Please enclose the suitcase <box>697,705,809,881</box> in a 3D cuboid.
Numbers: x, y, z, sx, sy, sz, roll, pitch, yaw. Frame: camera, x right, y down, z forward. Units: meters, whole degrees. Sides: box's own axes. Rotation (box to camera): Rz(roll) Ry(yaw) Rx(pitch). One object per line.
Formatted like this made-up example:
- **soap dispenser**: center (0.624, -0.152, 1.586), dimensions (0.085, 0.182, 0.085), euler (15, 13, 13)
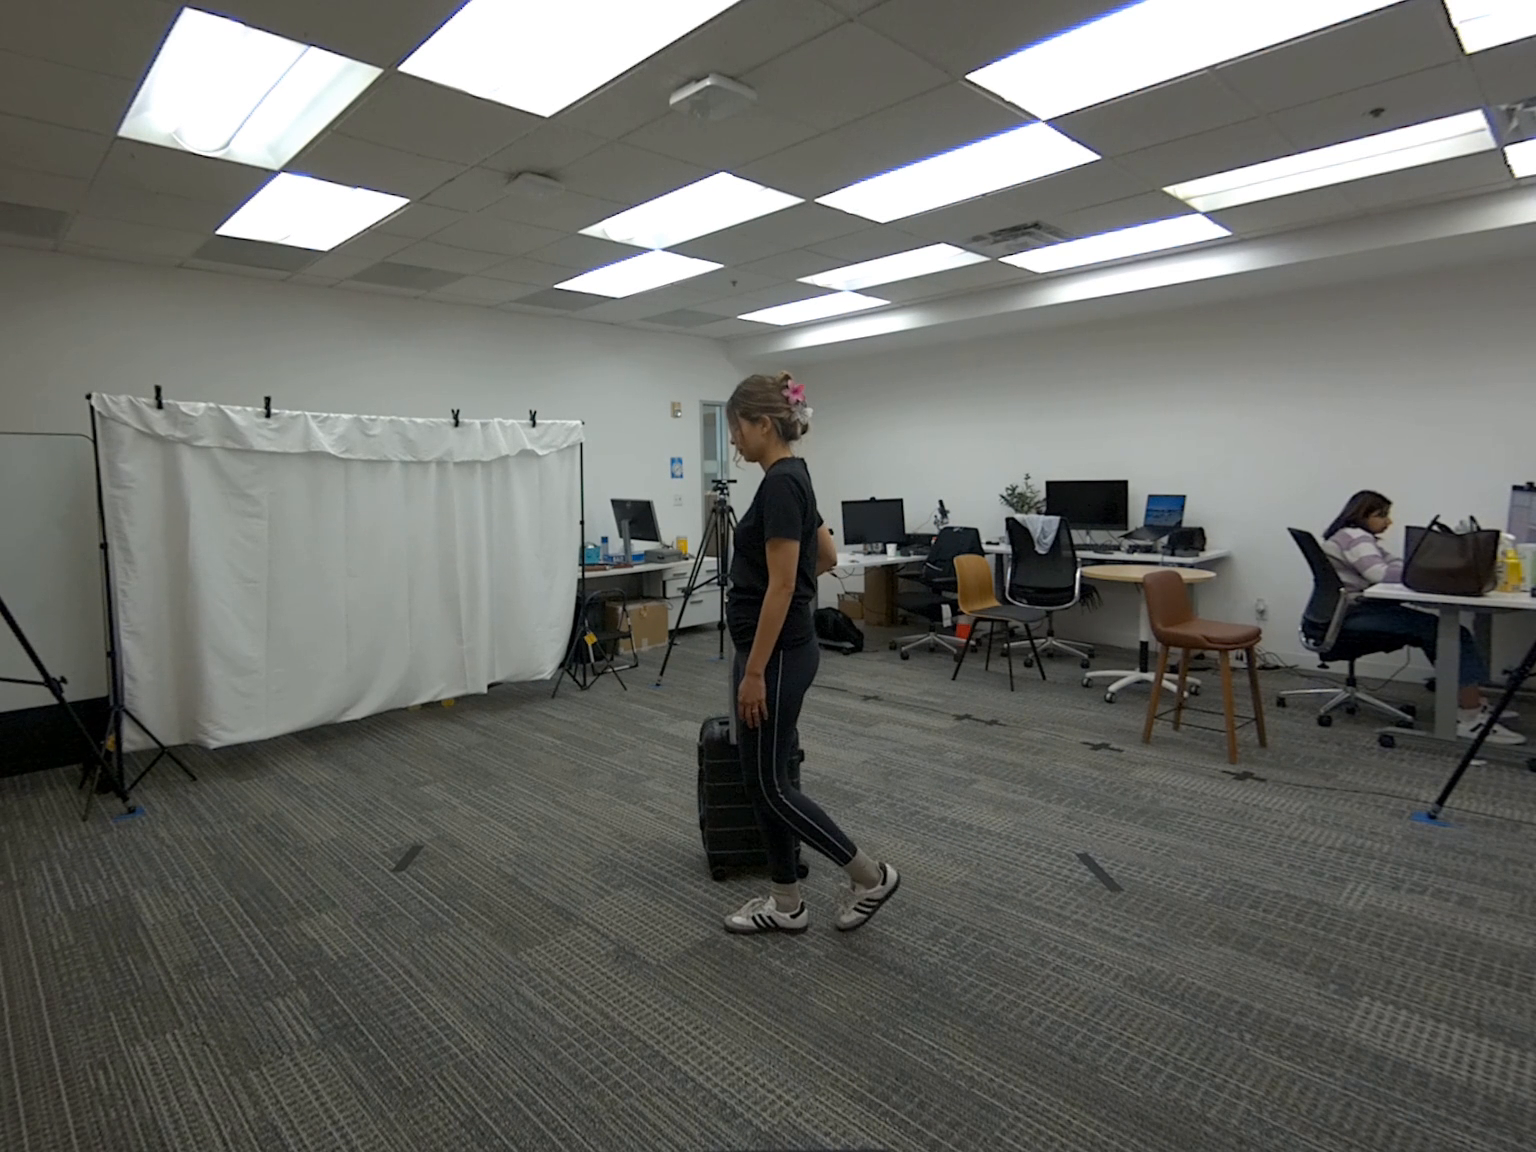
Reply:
- **suitcase**: center (-0.068, 0.571, 3.083), dimensions (0.383, 0.977, 0.258), euler (-3, 2, -3)
